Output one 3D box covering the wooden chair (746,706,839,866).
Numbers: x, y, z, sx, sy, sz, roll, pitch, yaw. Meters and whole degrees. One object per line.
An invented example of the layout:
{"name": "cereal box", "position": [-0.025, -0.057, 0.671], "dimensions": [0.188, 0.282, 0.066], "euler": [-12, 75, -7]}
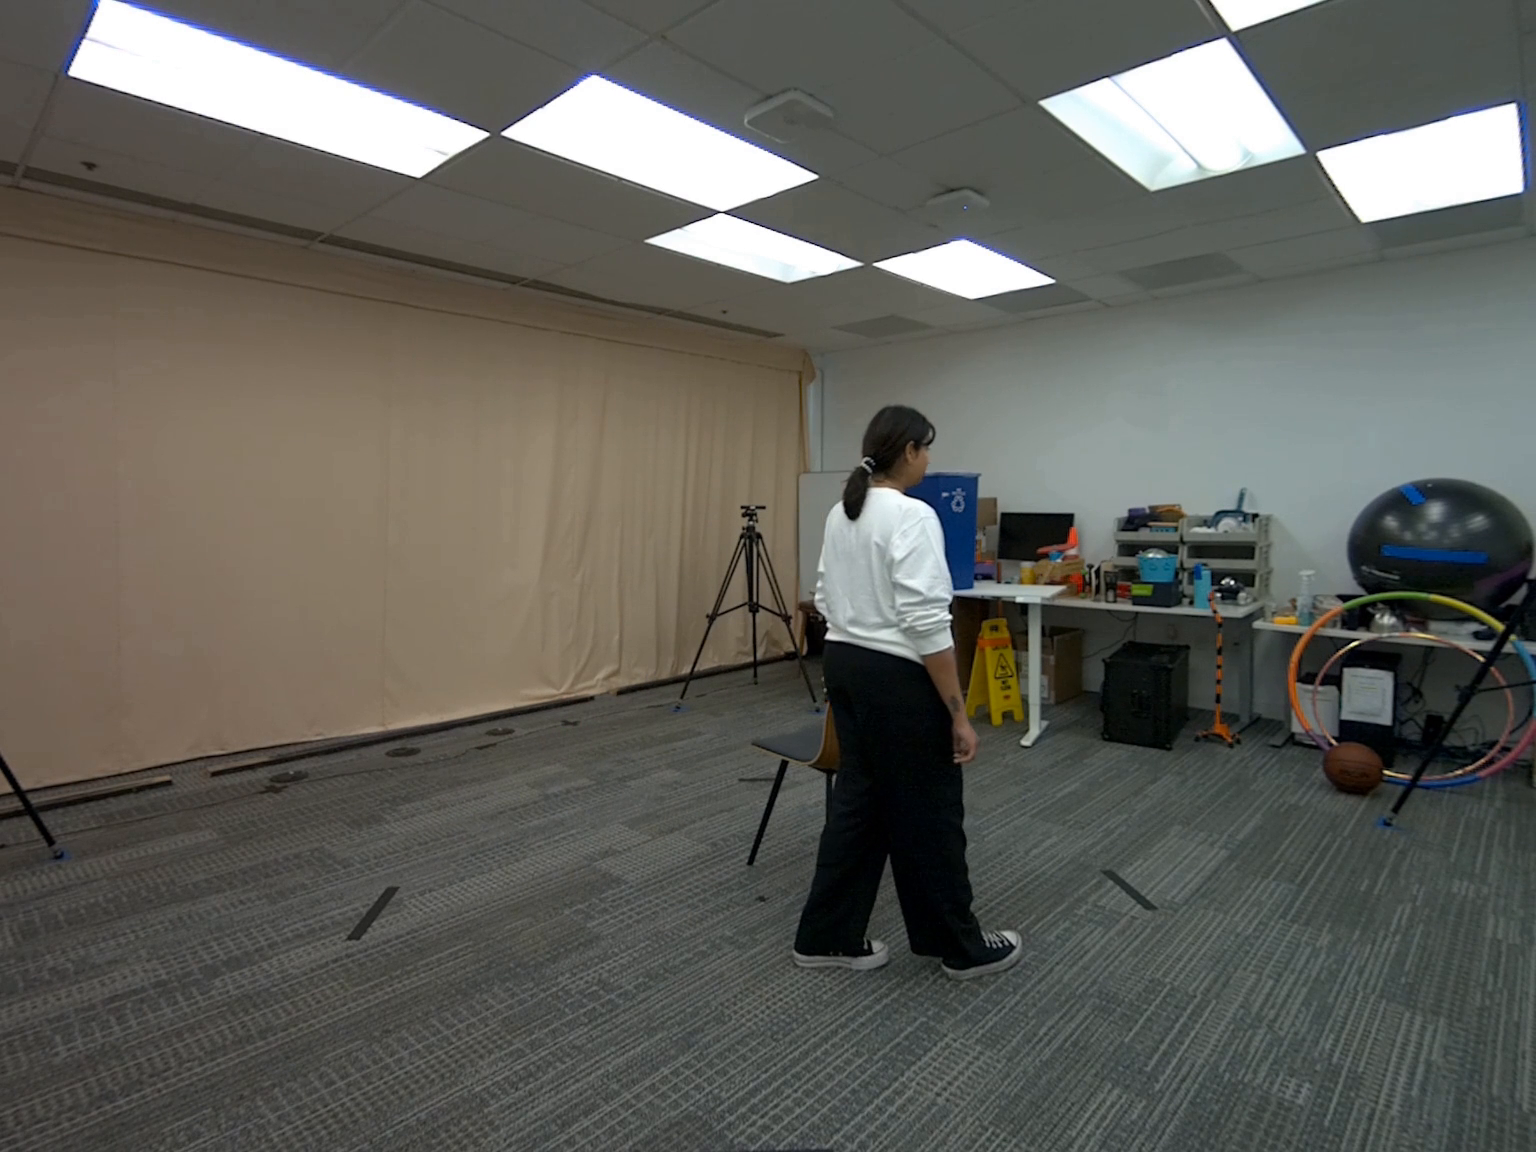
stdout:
{"name": "wooden chair", "position": [0.236, 0.695, 3.203], "dimensions": [0.463, 0.874, 0.541], "euler": [-3, 9, -41]}
